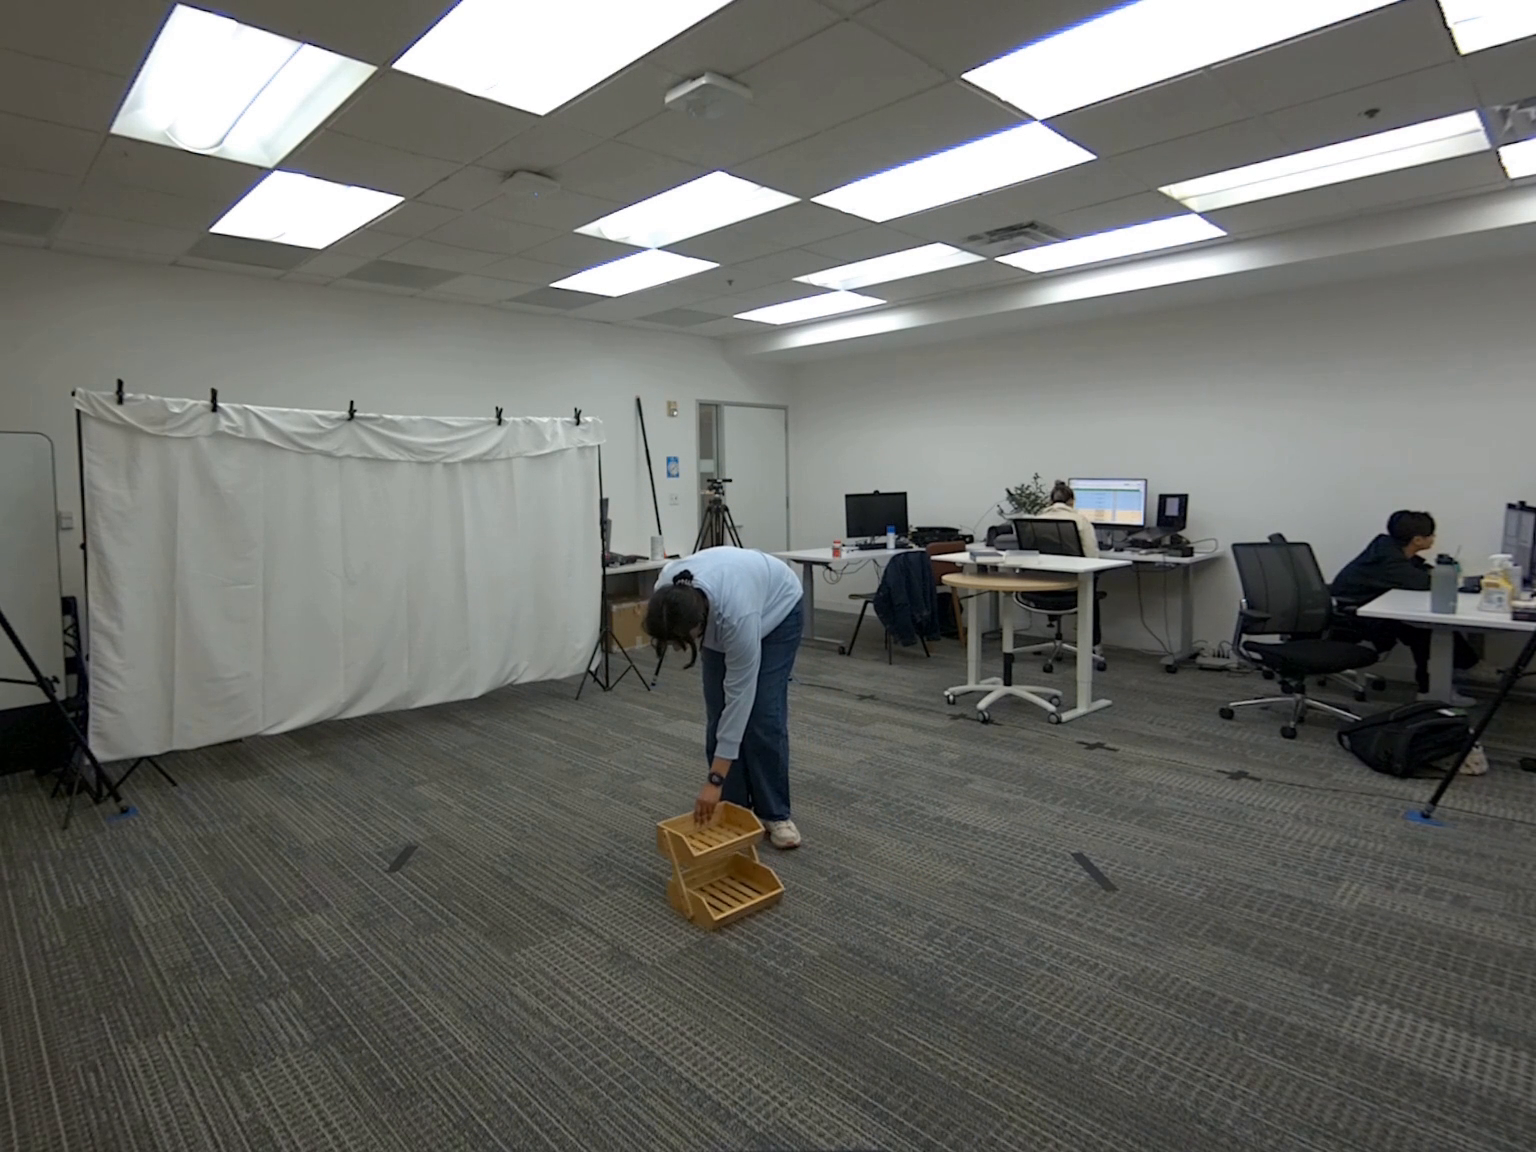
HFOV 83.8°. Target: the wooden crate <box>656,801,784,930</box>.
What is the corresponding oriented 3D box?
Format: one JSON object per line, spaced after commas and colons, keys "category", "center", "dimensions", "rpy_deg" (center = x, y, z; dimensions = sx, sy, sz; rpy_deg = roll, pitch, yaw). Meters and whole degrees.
{"category": "wooden crate", "center": [-0.153, 0.948, 2.825], "dimensions": [0.316, 0.272, 0.311], "rpy_deg": [-6, 6, -42]}
